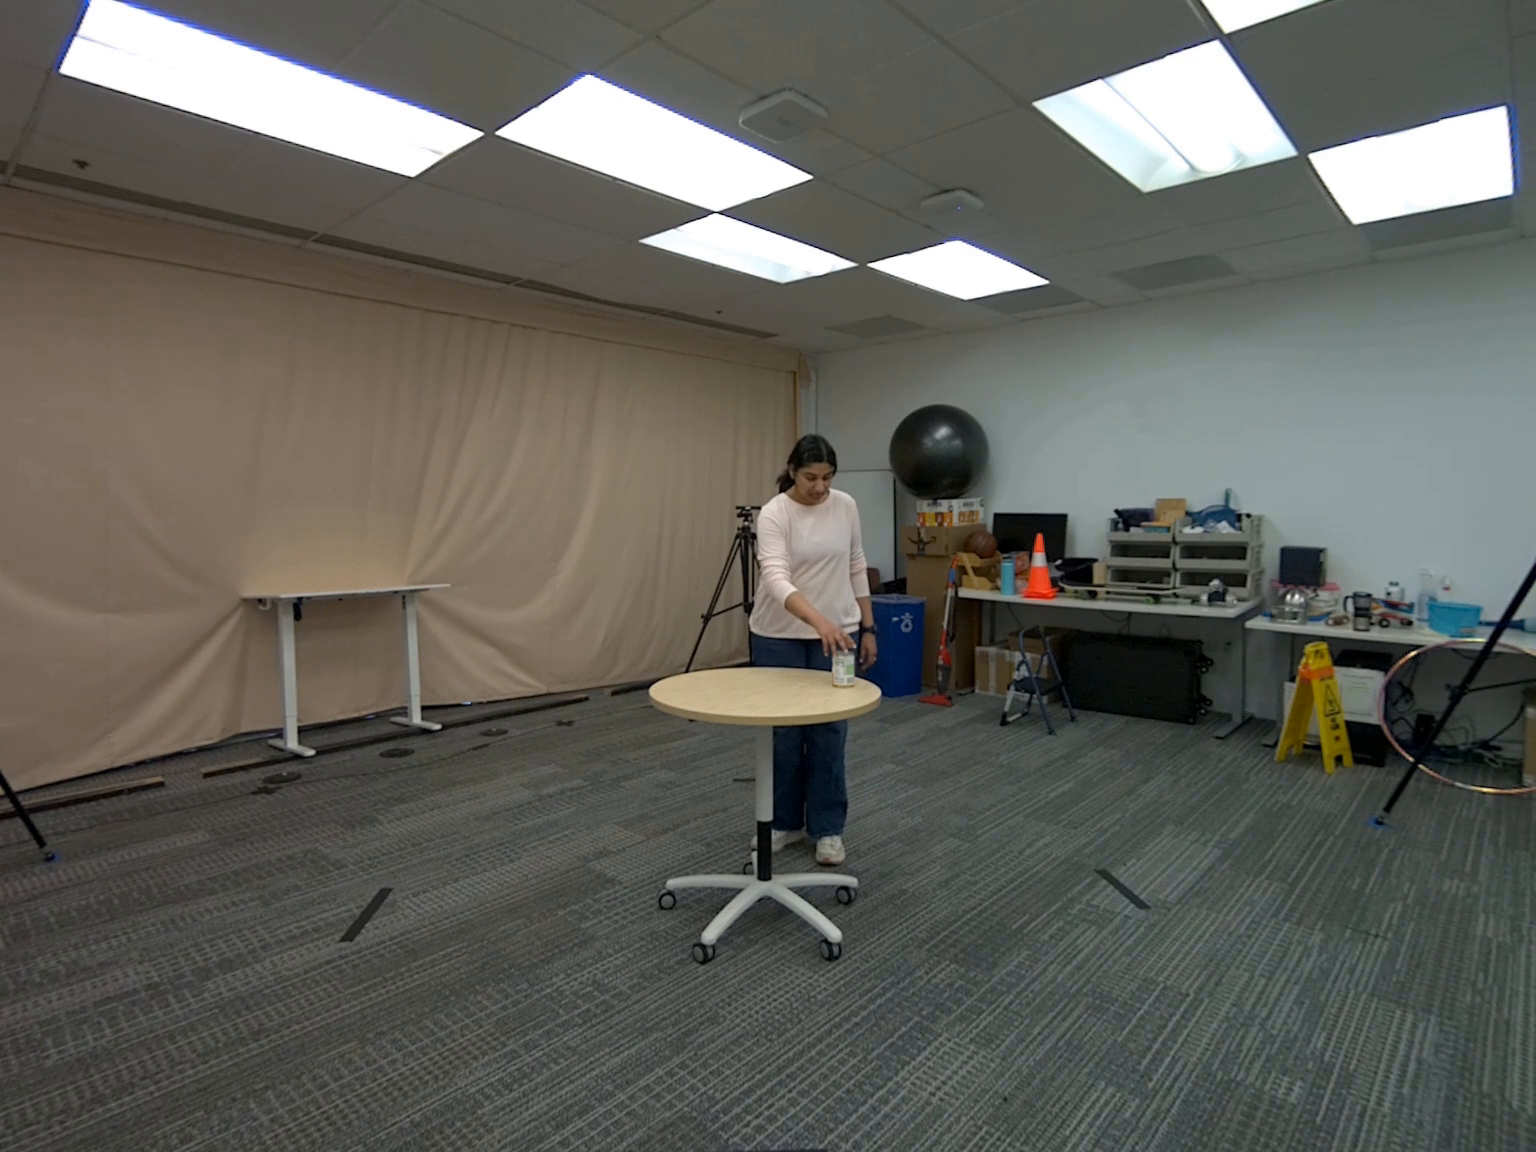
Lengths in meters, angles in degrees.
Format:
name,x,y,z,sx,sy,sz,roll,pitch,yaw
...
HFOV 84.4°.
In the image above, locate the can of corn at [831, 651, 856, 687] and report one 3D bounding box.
name,x,y,z,sx,sy,sz,roll,pitch,yaw
can of corn,0.251,0.315,2.836,0.074,0.111,0.074,0,1,-2
